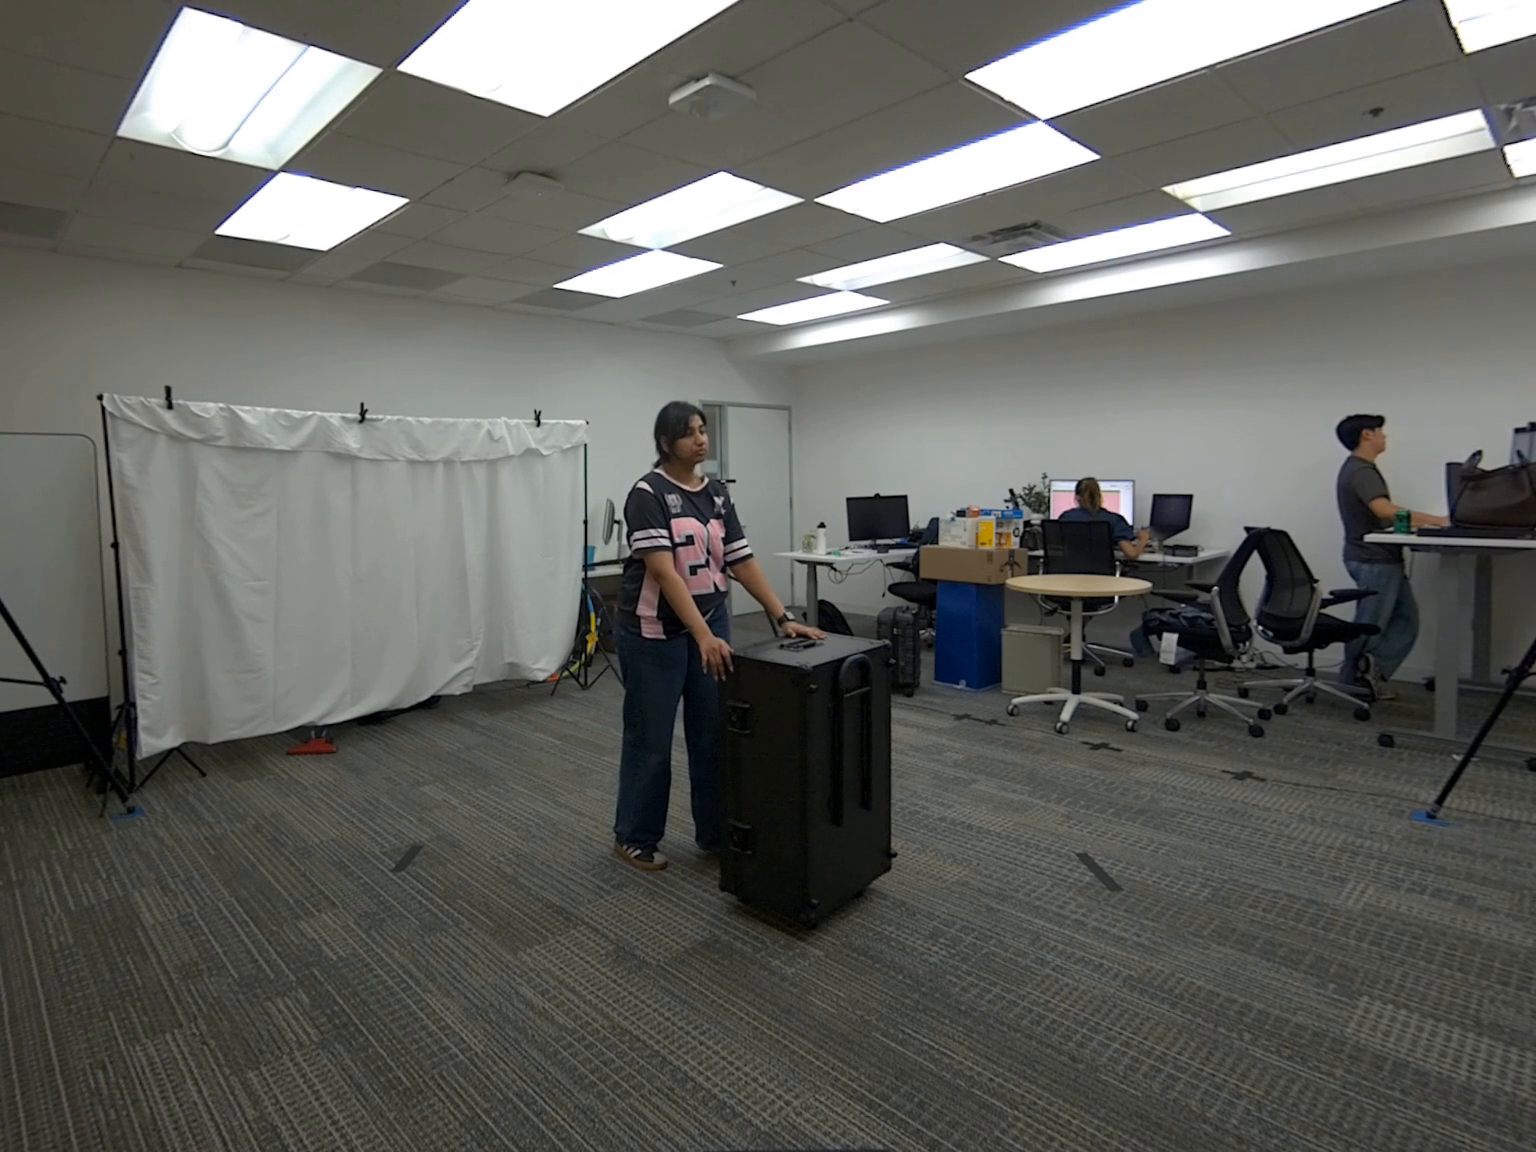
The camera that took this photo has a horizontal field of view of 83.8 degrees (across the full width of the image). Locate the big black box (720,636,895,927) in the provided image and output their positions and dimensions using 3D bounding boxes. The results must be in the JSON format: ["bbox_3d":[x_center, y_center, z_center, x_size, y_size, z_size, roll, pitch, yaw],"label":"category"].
[{"bbox_3d":[0.139,0.659,2.805,0.397,0.865,0.510,4,6,39],"label":"big black box"}]
